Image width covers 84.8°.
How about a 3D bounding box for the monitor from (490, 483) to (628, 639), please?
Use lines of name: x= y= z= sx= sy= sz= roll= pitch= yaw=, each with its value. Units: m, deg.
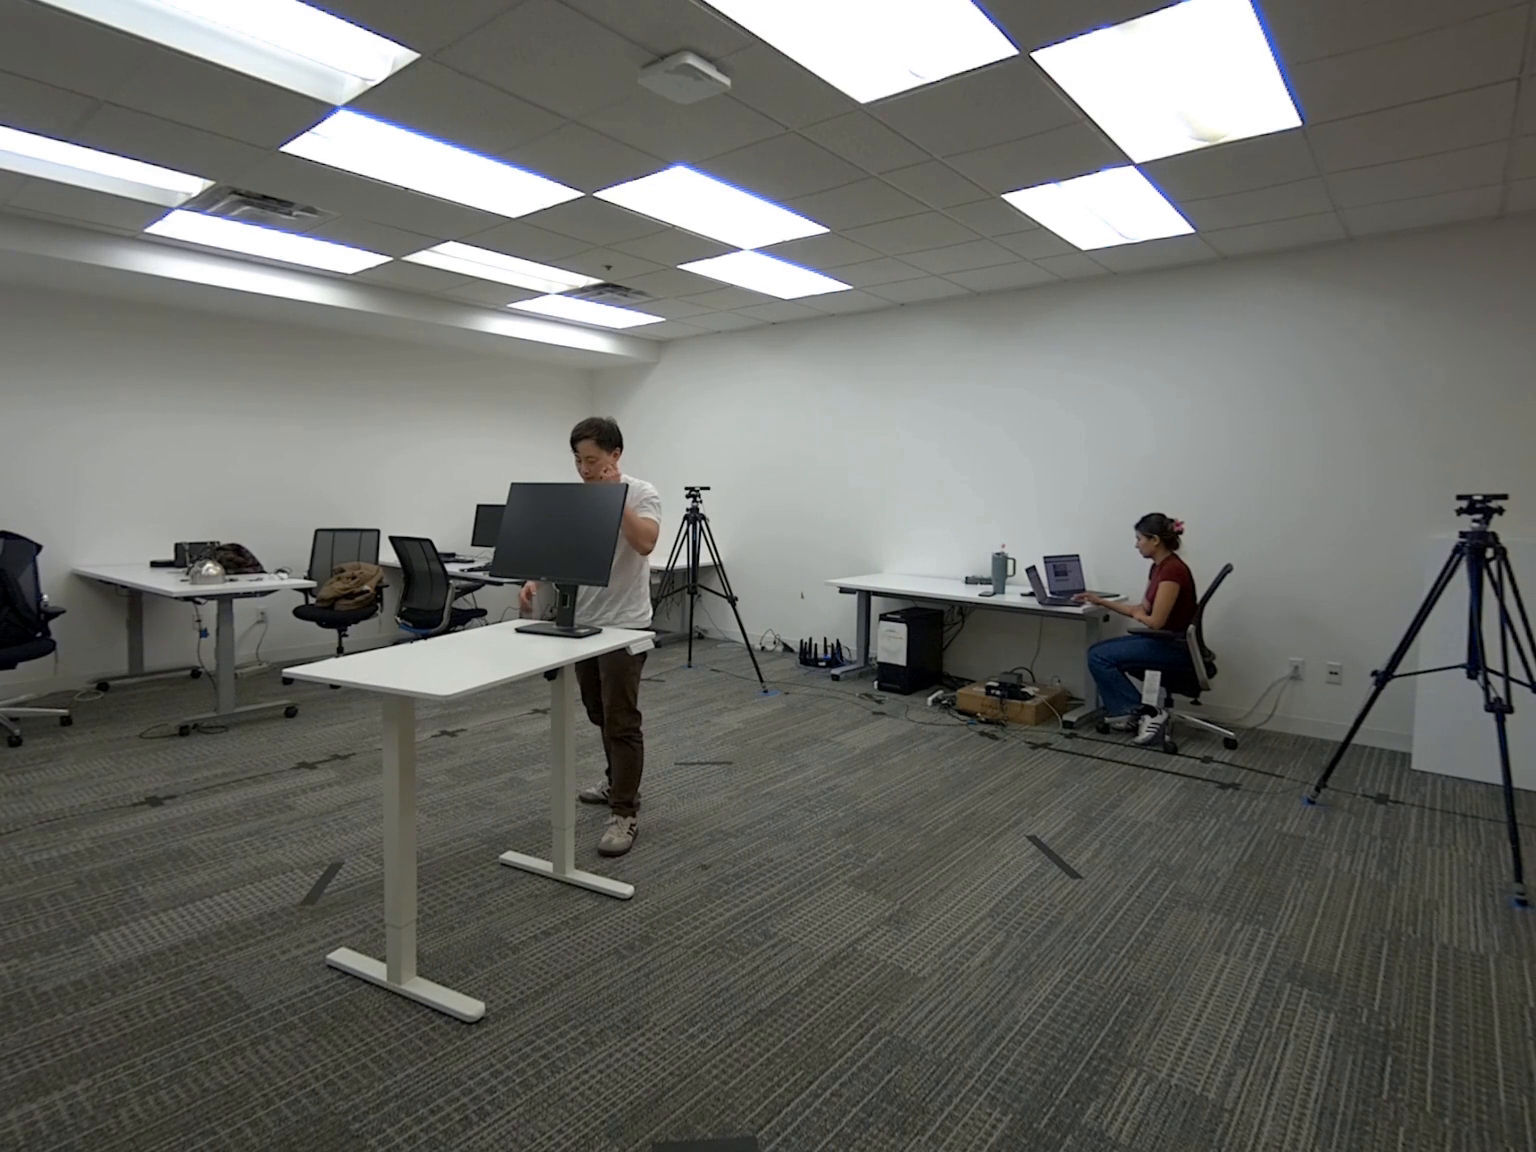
monitor: x=-0.728 y=-0.066 z=2.936 sx=0.554 sy=0.522 sz=0.182 roll=3 pitch=0 yaw=29
